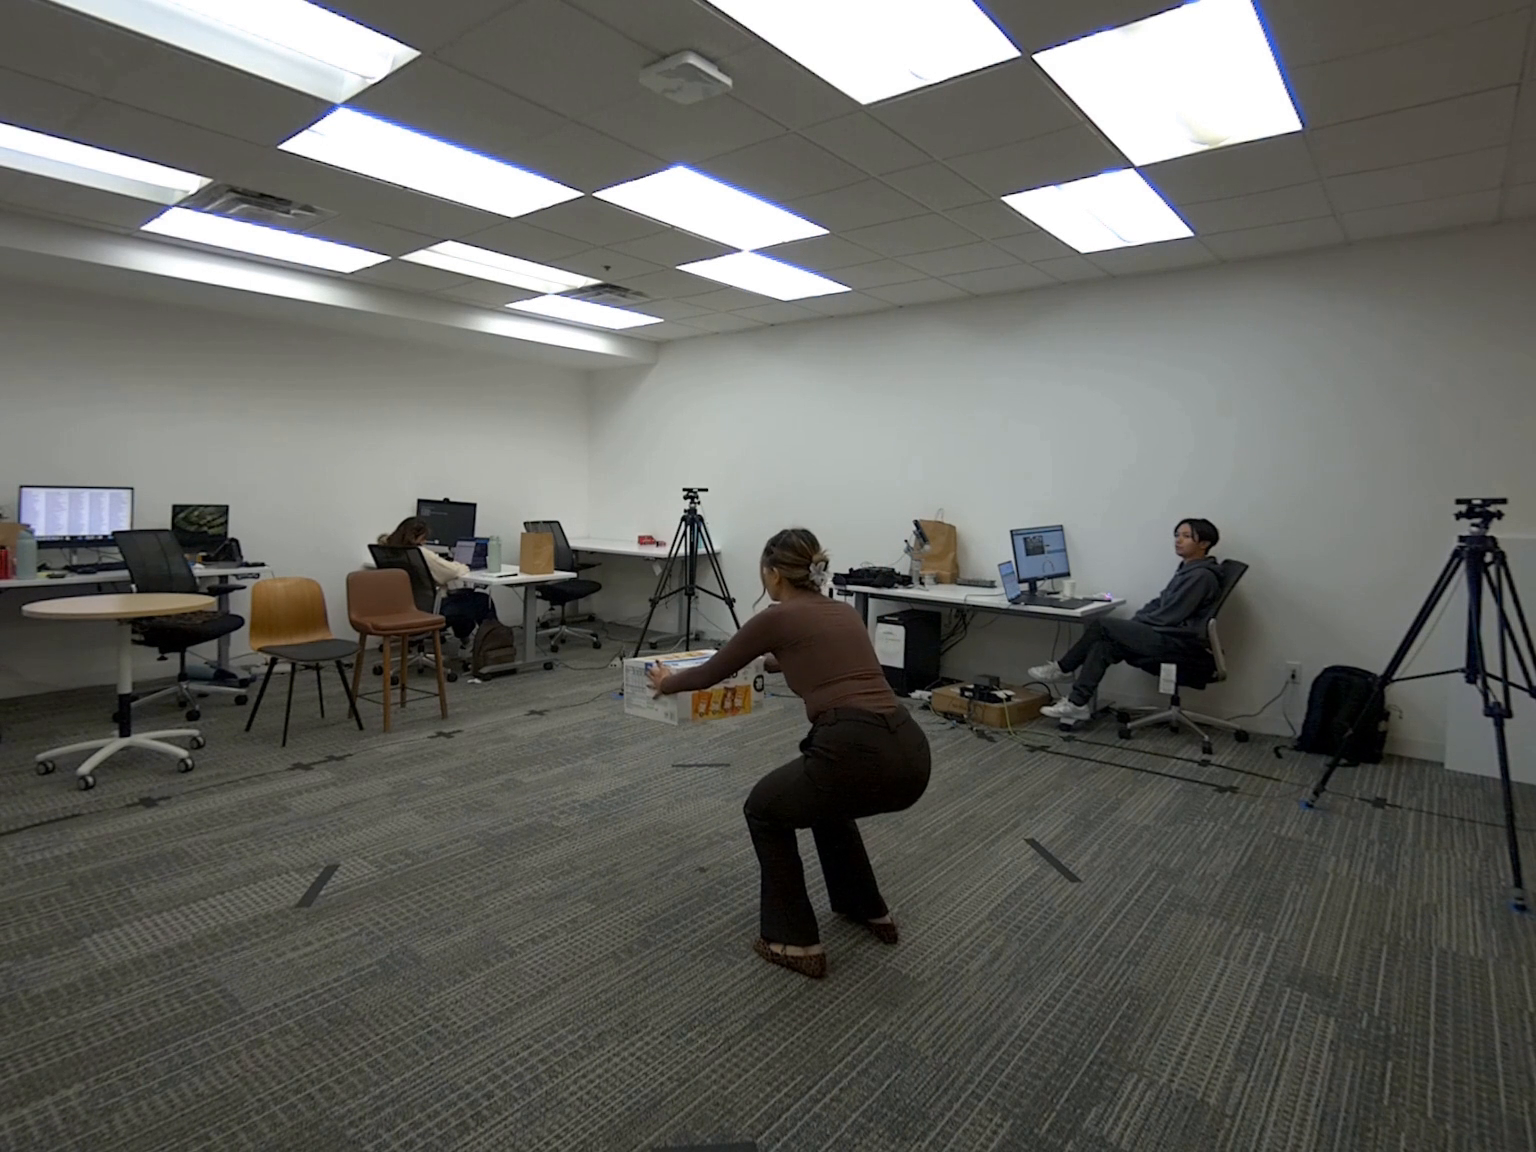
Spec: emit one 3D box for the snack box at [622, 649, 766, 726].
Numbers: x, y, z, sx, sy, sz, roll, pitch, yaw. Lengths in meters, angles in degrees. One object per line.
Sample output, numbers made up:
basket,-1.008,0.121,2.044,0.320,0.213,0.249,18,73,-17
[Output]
snack box,-0.287,0.405,3.170,0.393,0.206,0.351,-2,2,-41
